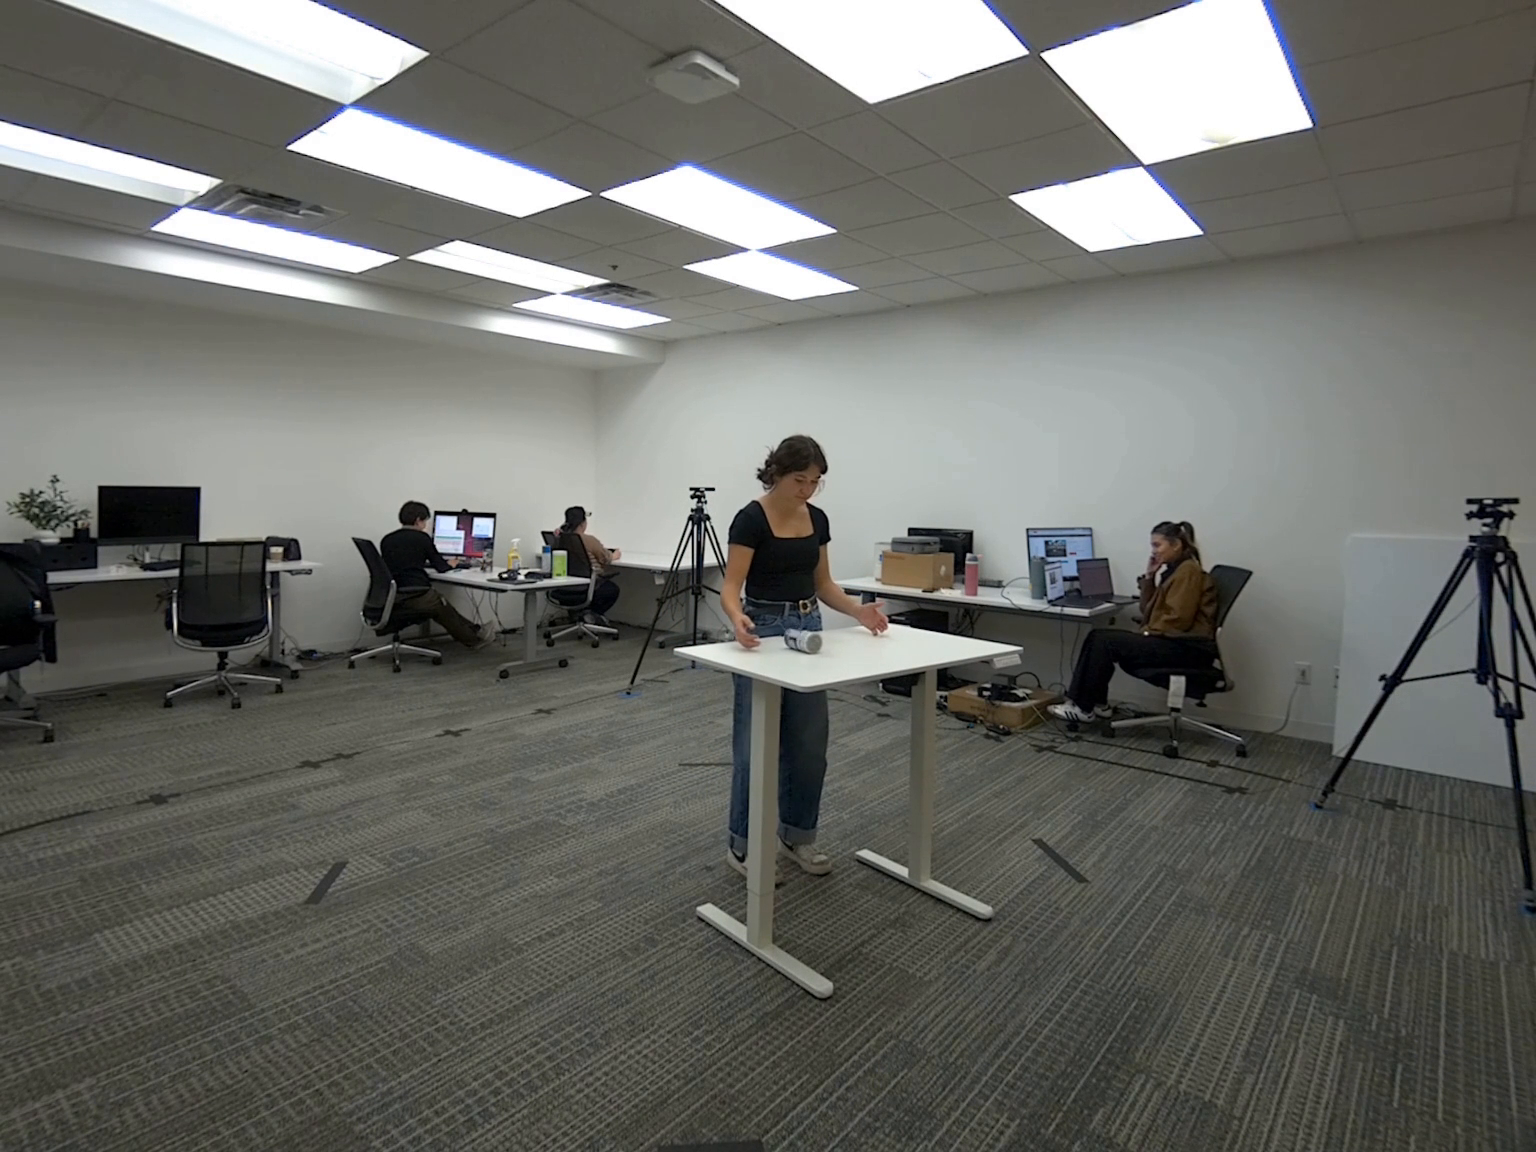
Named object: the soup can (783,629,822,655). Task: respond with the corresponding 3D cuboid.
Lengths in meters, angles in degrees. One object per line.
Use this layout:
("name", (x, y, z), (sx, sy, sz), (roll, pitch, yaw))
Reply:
("soup can", (0.095, 0.201, 2.675), (0.065, 0.067, 0.125), (-2, 4, -33))
